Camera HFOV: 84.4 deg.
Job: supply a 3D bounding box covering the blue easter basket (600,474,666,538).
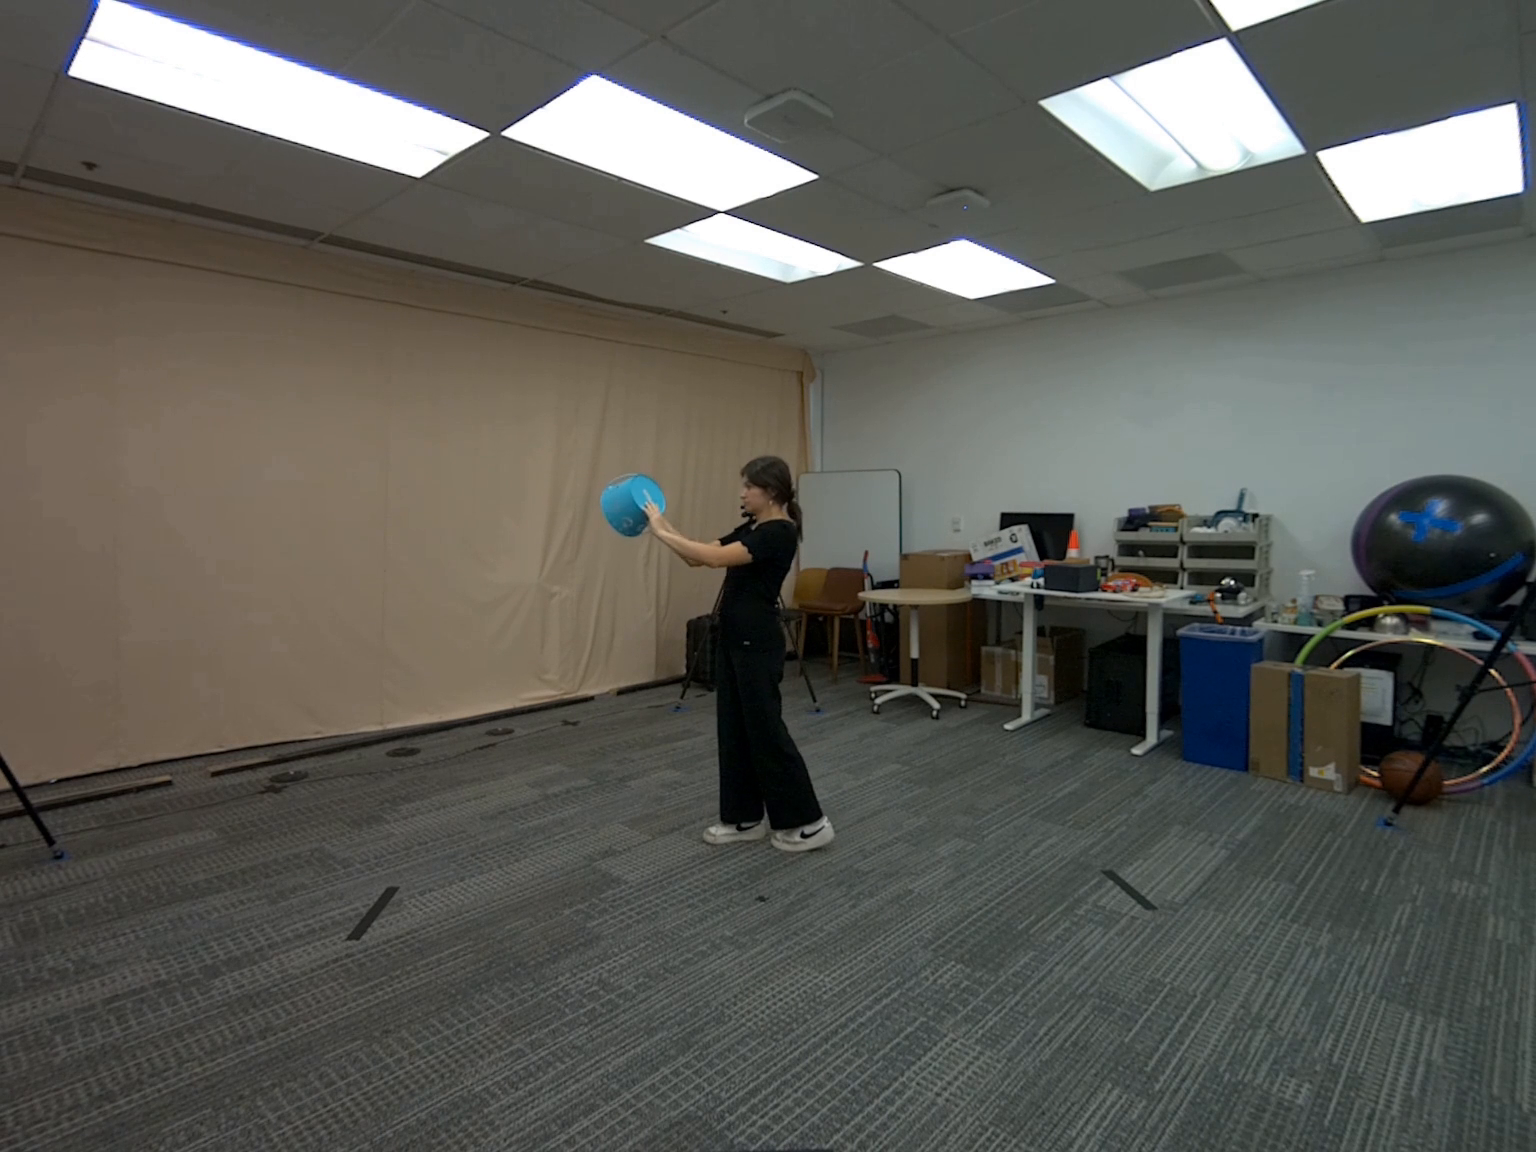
[{"bbox_3d":[-0.524,-0.294,3.345,0.159,0.246,0.236,-28,-13,33],"label":"blue easter basket"}]
